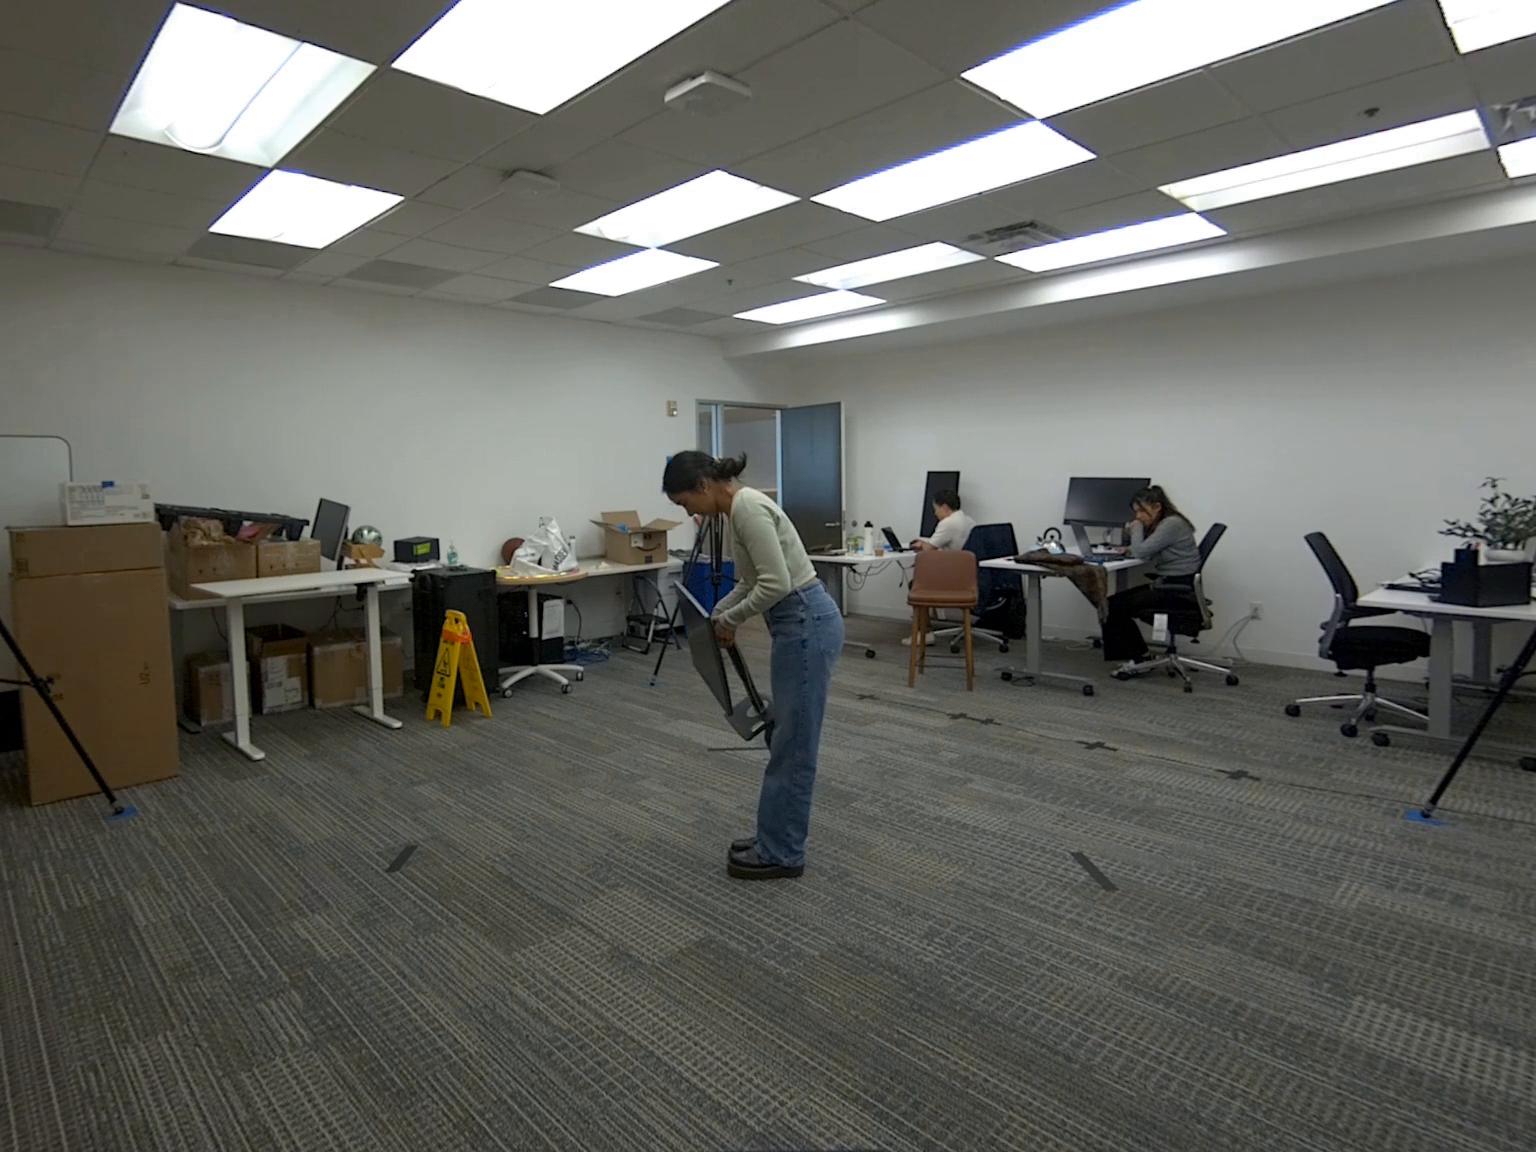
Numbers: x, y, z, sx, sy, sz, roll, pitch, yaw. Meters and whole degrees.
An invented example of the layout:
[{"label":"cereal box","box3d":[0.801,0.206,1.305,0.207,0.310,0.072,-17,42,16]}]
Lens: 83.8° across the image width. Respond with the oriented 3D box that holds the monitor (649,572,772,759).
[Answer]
[{"label":"monitor","box3d":[-0.169,0.296,3.048,0.174,0.505,0.543,-34,18,-9]}]
